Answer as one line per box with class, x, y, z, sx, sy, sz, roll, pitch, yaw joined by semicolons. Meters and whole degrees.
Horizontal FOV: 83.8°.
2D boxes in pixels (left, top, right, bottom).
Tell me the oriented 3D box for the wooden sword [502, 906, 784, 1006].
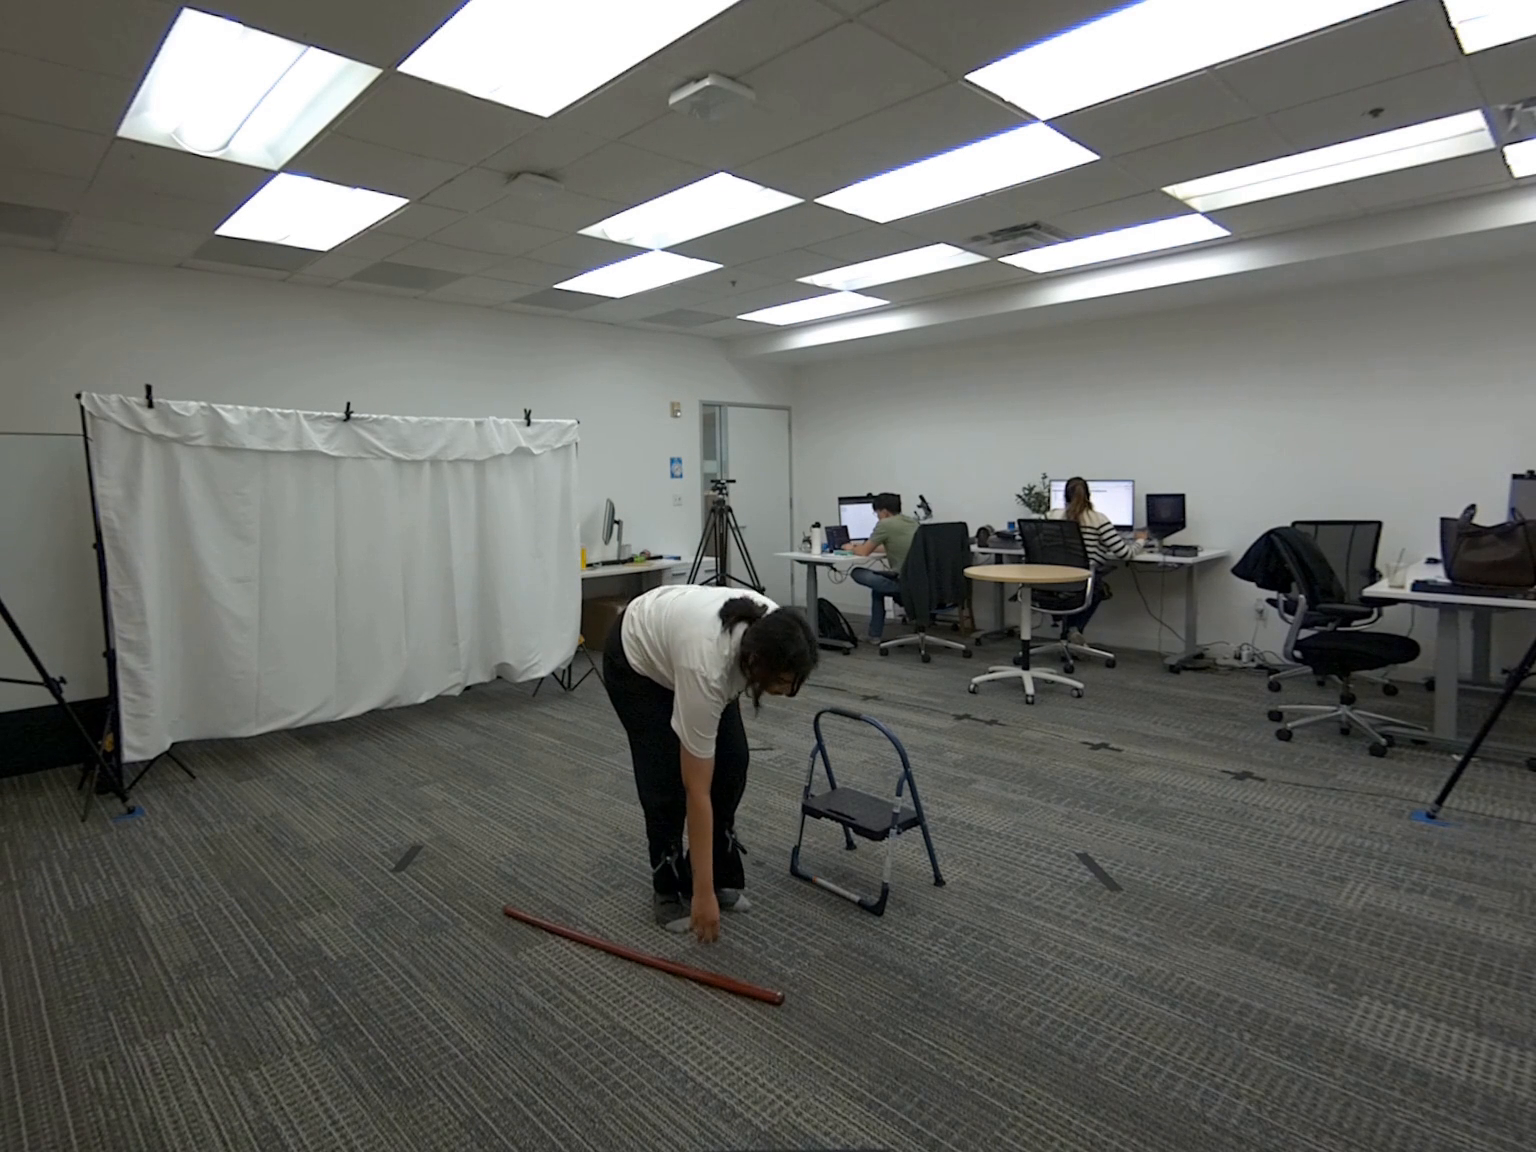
wooden sword;-0.407;1.095;2.536;1.053;0.024;0.049;3;-11;32
